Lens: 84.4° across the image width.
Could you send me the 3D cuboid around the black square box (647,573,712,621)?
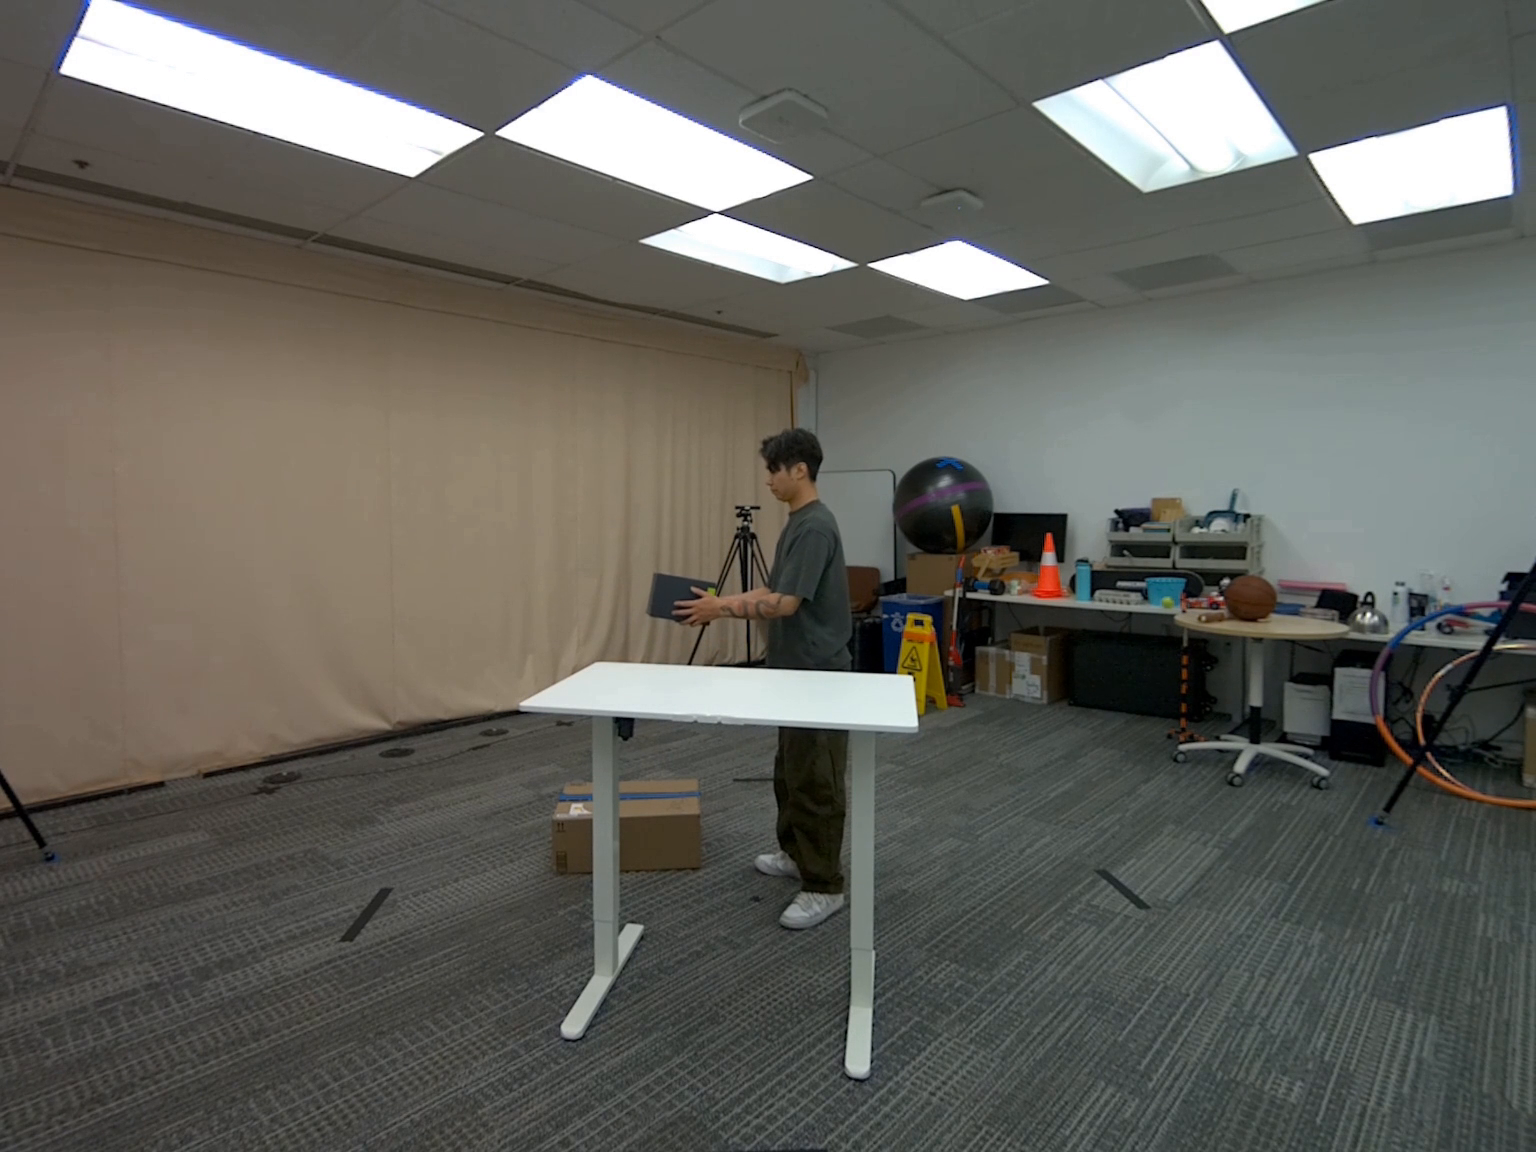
[{"bbox_3d":[-0.312,0.082,3.084,0.215,0.156,0.229,7,-3,-8],"label":"black square box"}]
